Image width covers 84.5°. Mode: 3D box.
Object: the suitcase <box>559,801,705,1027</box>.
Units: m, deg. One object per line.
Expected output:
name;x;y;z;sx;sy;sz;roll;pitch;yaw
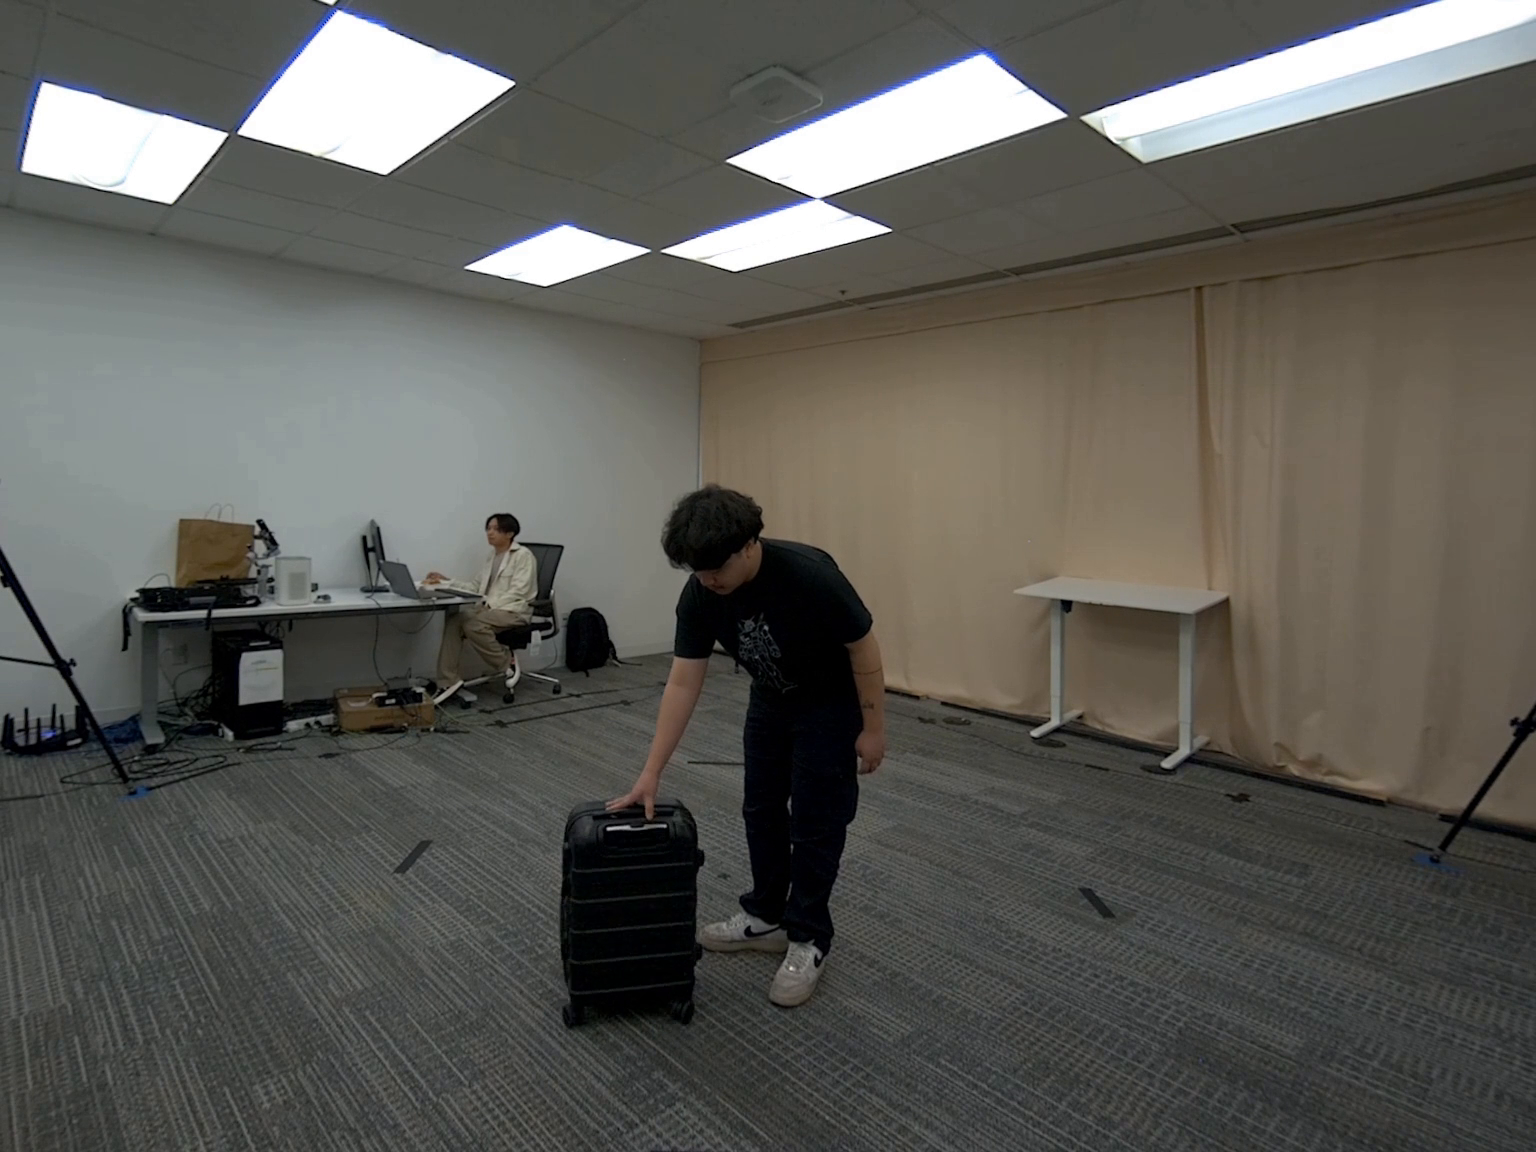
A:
suitcase;-0.389;0.901;2.302;0.372;0.548;0.251;1;3;-12
